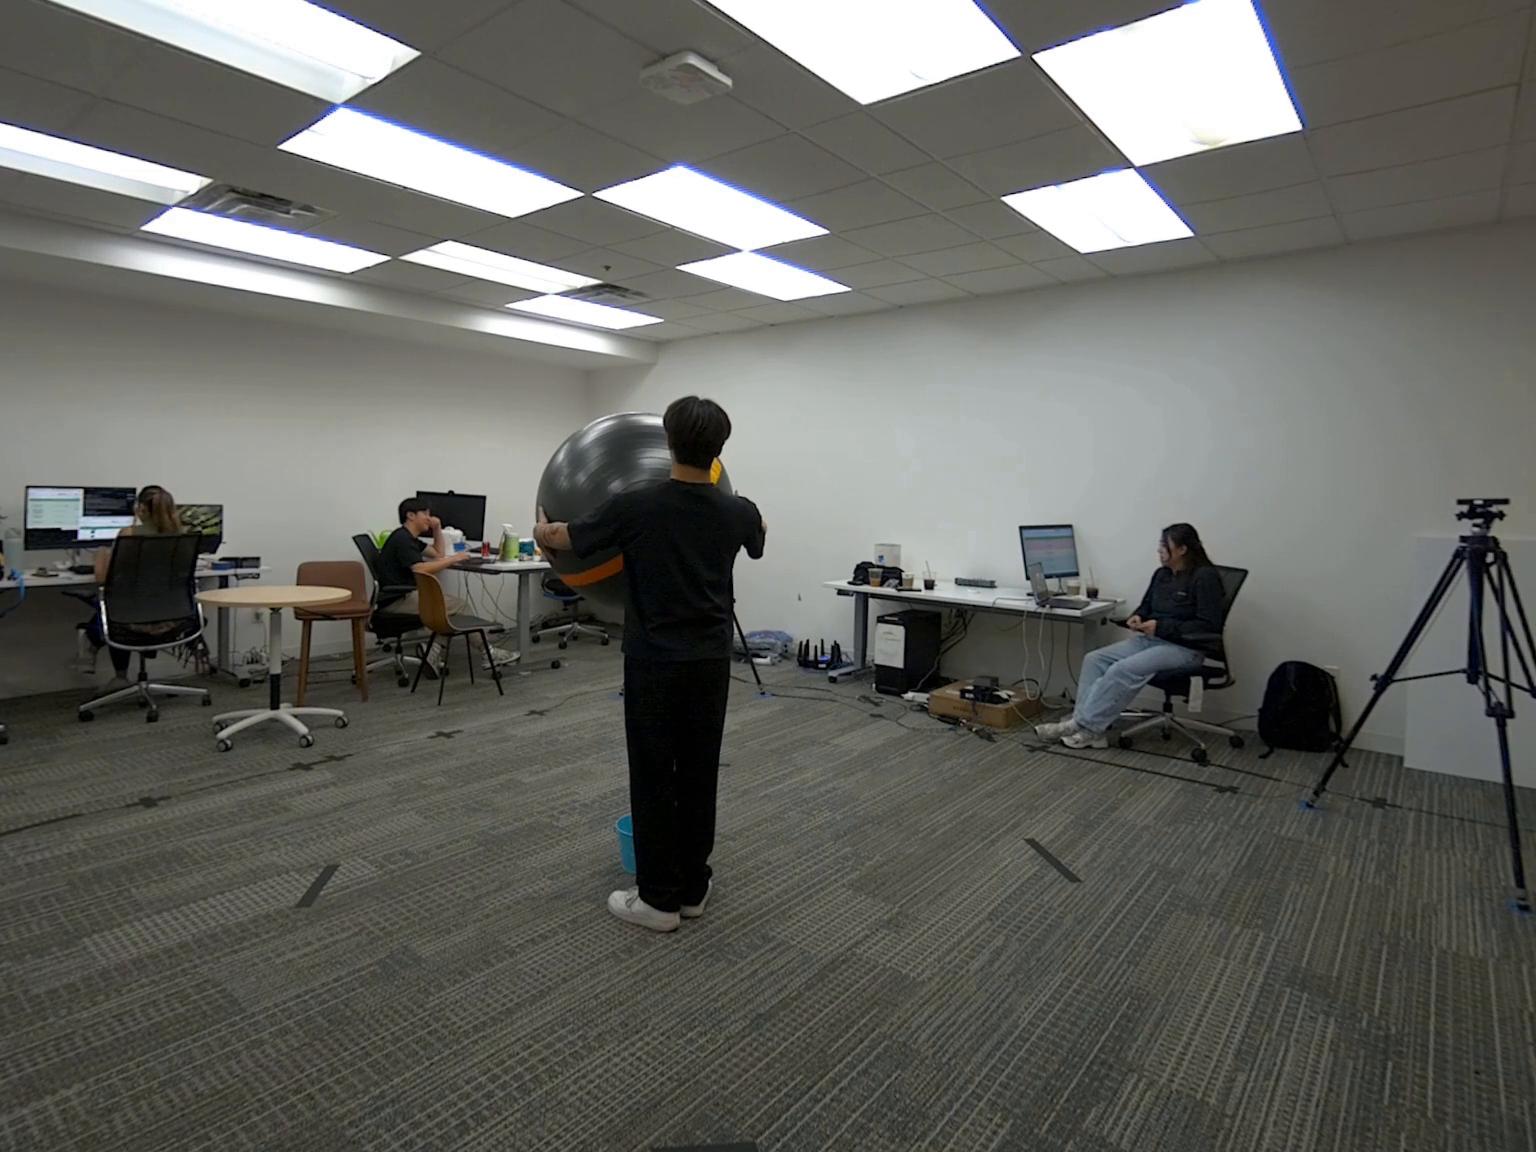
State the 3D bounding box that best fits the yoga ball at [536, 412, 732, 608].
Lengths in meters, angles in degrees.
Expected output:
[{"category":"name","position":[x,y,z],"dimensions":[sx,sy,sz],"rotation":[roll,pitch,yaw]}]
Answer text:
[{"category":"yoga ball","position":[-0.517,-0.241,3.270],"dimensions":[0.757,0.756,0.761],"rotation":[1,4,-2]}]
